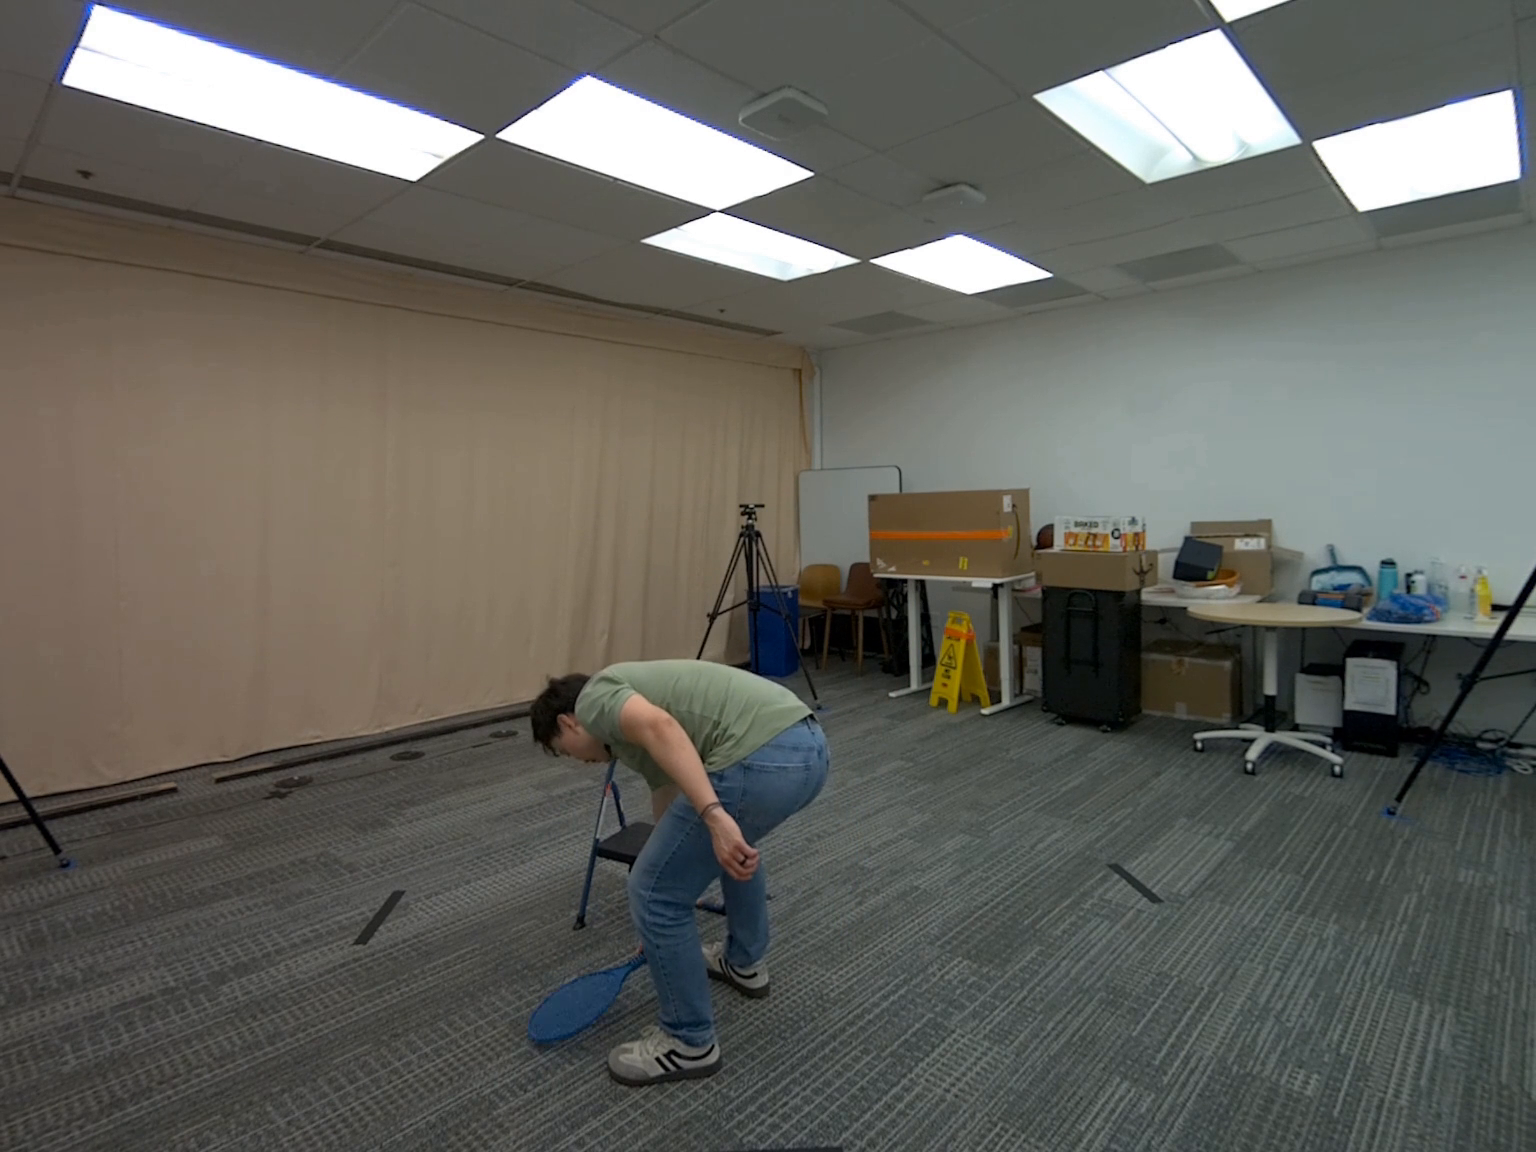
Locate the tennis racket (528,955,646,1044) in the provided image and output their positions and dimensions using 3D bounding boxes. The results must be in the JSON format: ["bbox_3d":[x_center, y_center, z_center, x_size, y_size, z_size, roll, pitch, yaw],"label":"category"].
[{"bbox_3d":[-0.465,1.101,2.302,0.423,0.031,0.220,-21,11,-34],"label":"tennis racket"}]
